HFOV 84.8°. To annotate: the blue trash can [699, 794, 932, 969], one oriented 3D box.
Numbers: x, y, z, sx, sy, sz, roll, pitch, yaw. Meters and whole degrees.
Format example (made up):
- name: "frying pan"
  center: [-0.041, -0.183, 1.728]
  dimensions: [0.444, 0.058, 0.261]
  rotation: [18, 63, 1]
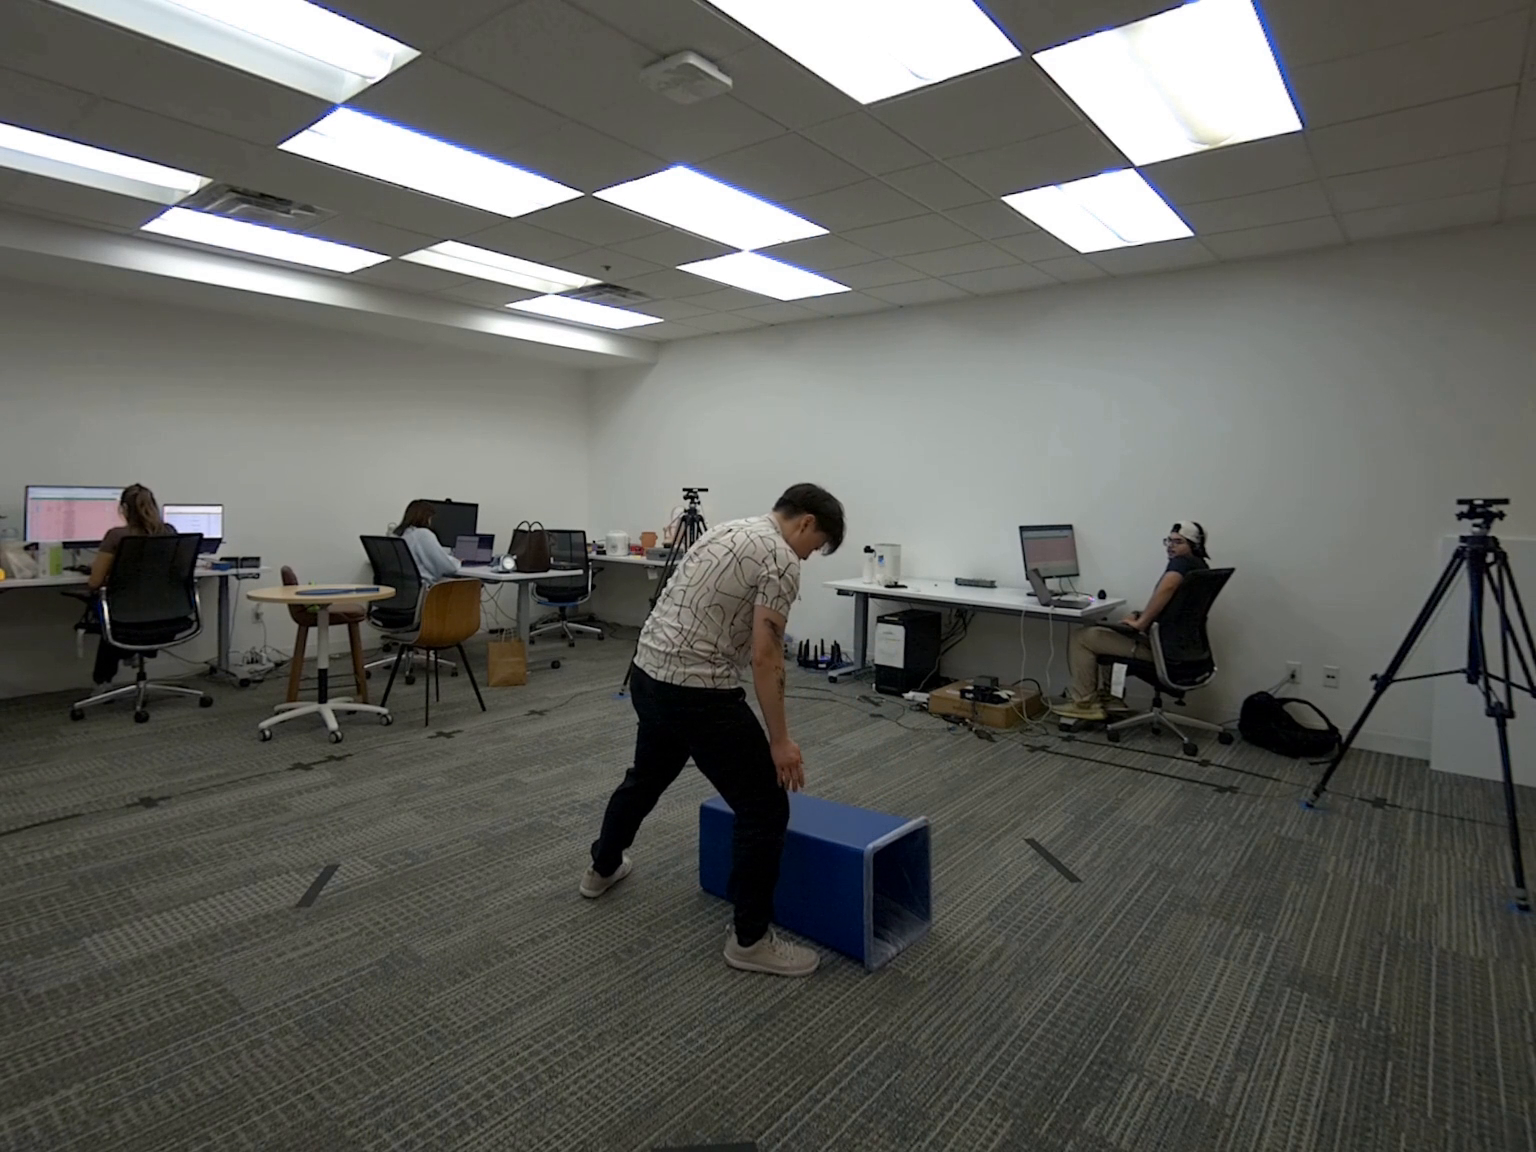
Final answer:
- name: "blue trash can"
  center: [0.127, 0.933, 2.820]
  dimensions: [0.737, 0.377, 0.363]
  rotation: [3, 5, 41]
